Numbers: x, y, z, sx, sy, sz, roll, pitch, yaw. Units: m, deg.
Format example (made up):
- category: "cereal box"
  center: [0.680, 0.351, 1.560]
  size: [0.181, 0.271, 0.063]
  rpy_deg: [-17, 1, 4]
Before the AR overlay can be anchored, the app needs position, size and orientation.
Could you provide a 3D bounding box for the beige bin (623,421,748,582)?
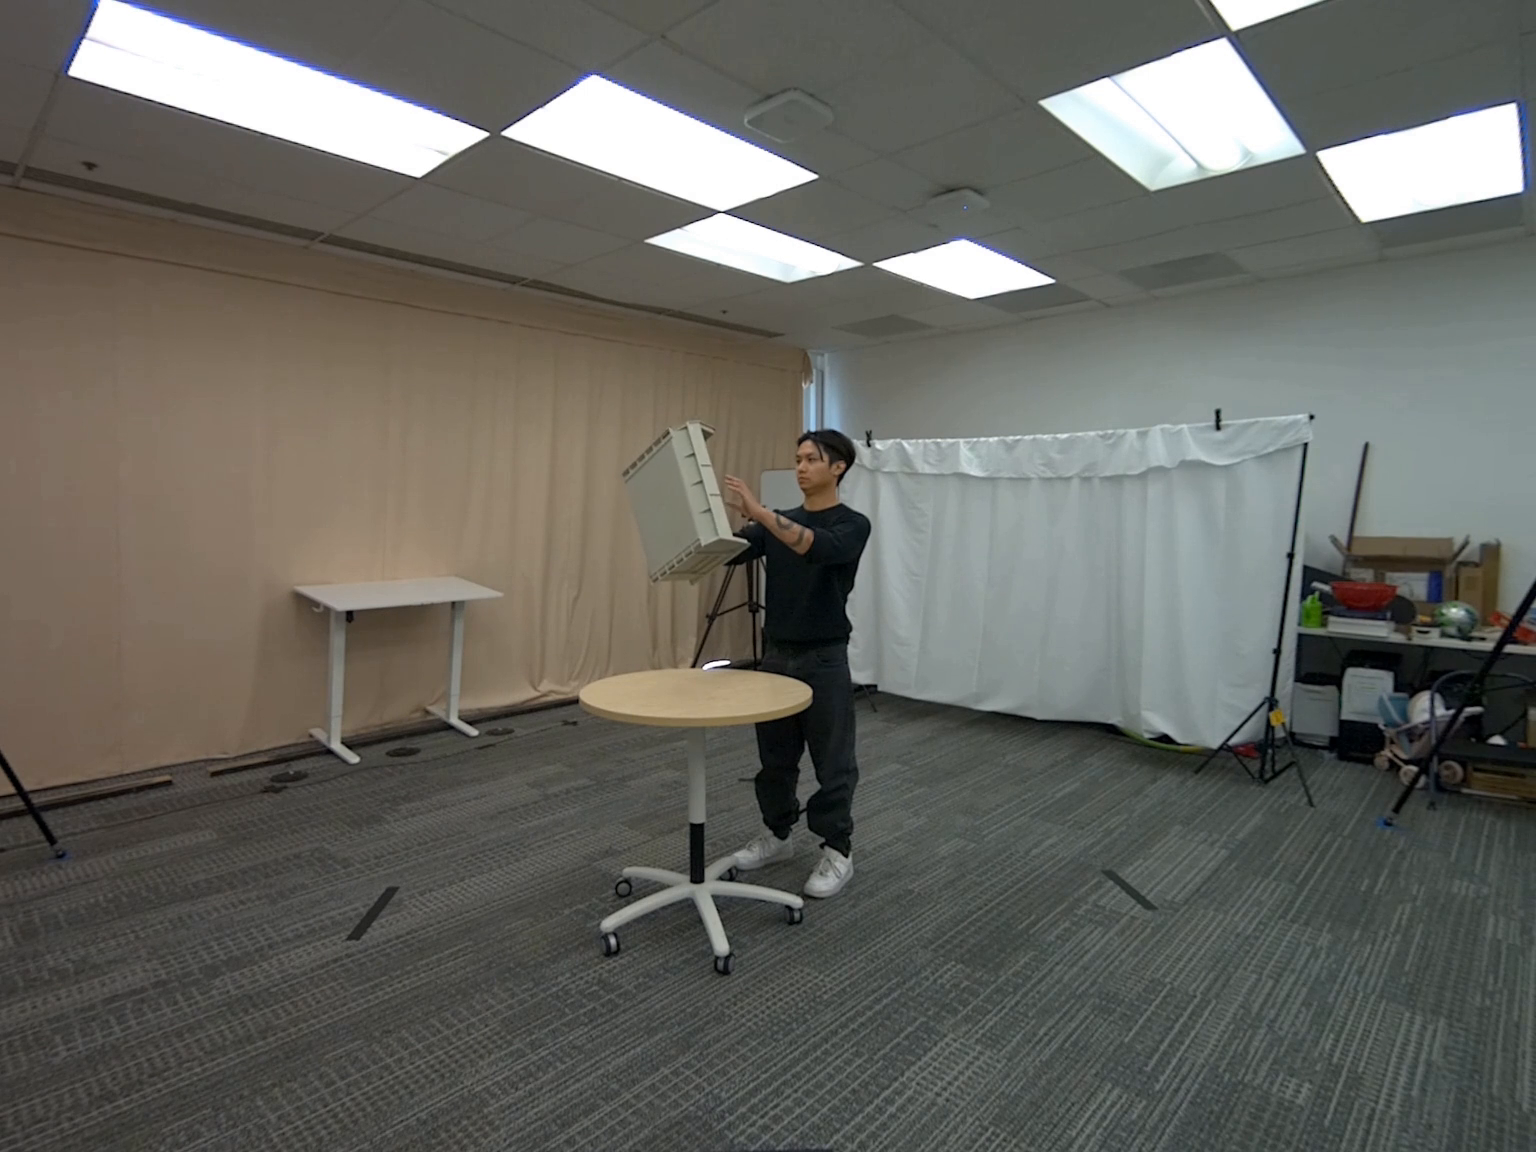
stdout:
- category: "beige bin"
  center: [-0.258, -0.223, 2.737]
  size: [0.183, 0.428, 0.383]
  rpy_deg: [-3, -21, -42]
